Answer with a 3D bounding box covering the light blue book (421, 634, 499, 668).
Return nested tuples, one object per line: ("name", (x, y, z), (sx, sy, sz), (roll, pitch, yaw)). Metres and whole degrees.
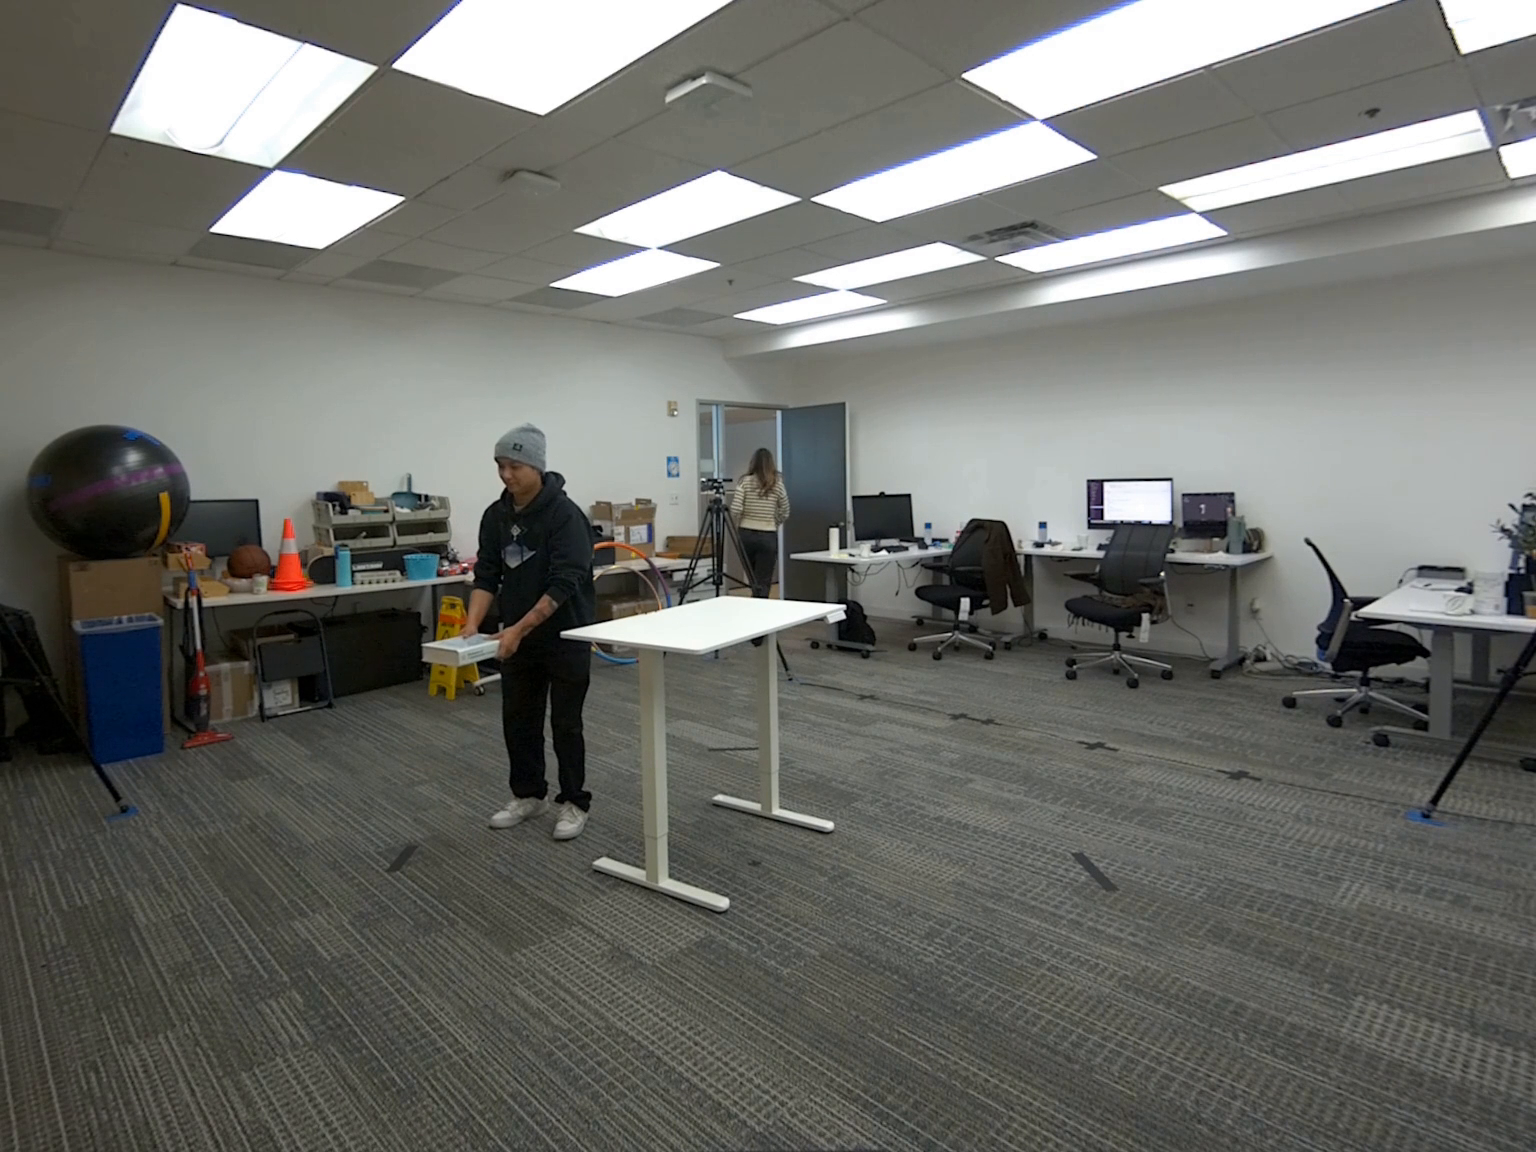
("light blue book", (-1.112, 0.272, 3.136), (0.196, 0.059, 0.255), (4, 7, 29))
